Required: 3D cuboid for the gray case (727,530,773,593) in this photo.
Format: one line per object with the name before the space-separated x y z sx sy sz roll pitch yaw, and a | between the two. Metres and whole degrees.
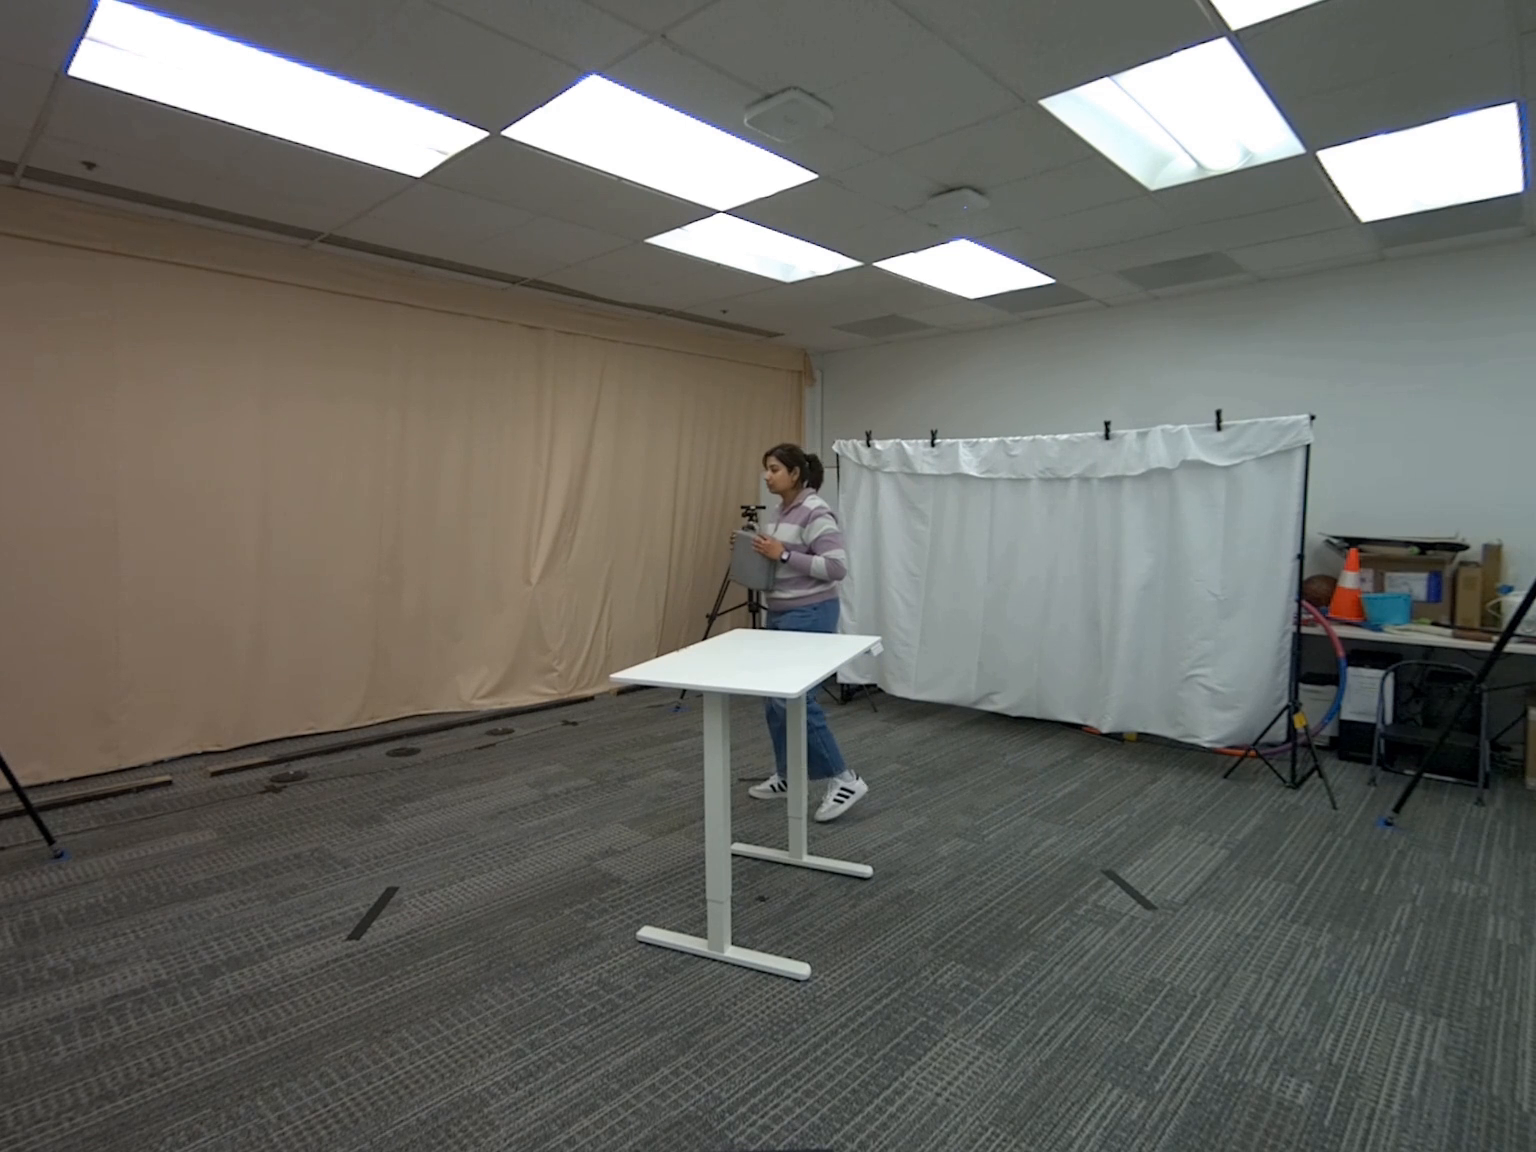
gray case | -0.061 -0.073 3.859 0.102 0.258 0.265 -9 14 -31
